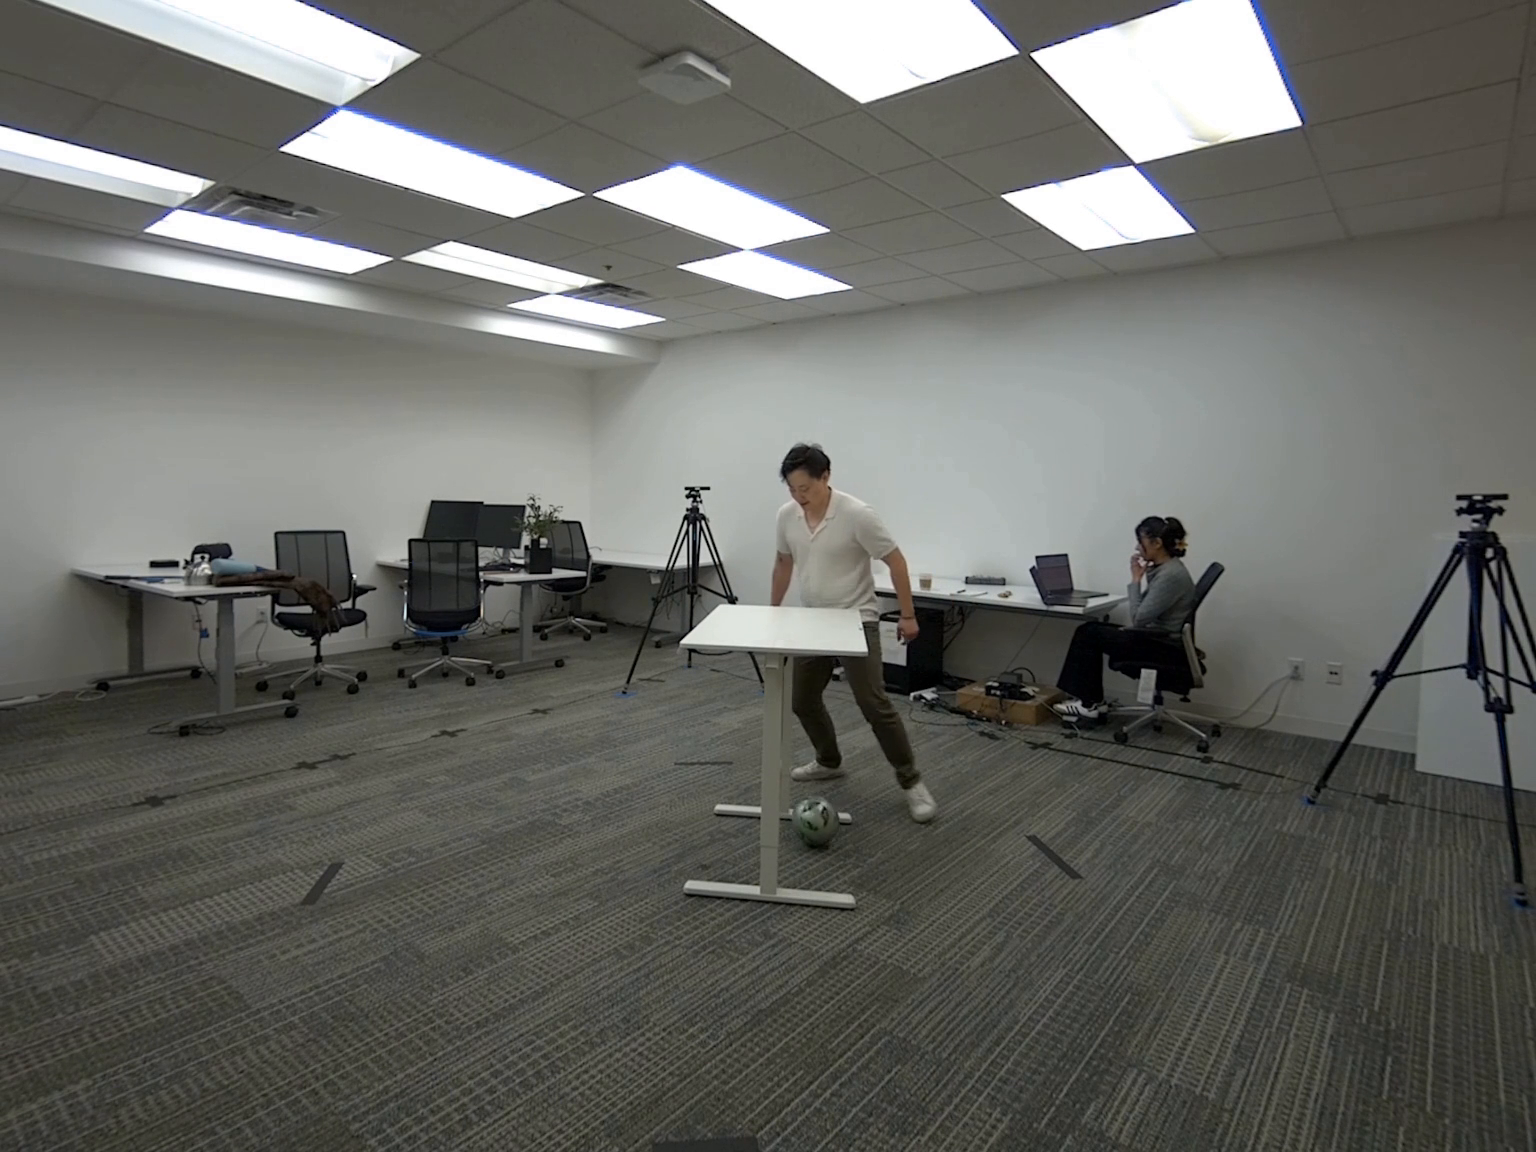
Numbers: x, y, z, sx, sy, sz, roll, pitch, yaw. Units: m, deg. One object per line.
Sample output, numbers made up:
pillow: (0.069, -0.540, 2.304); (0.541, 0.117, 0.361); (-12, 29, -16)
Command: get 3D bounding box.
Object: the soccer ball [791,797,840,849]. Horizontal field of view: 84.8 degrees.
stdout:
soccer ball: (0.184, 0.959, 3.330); (0.187, 0.187, 0.188); (1, 4, -2)
